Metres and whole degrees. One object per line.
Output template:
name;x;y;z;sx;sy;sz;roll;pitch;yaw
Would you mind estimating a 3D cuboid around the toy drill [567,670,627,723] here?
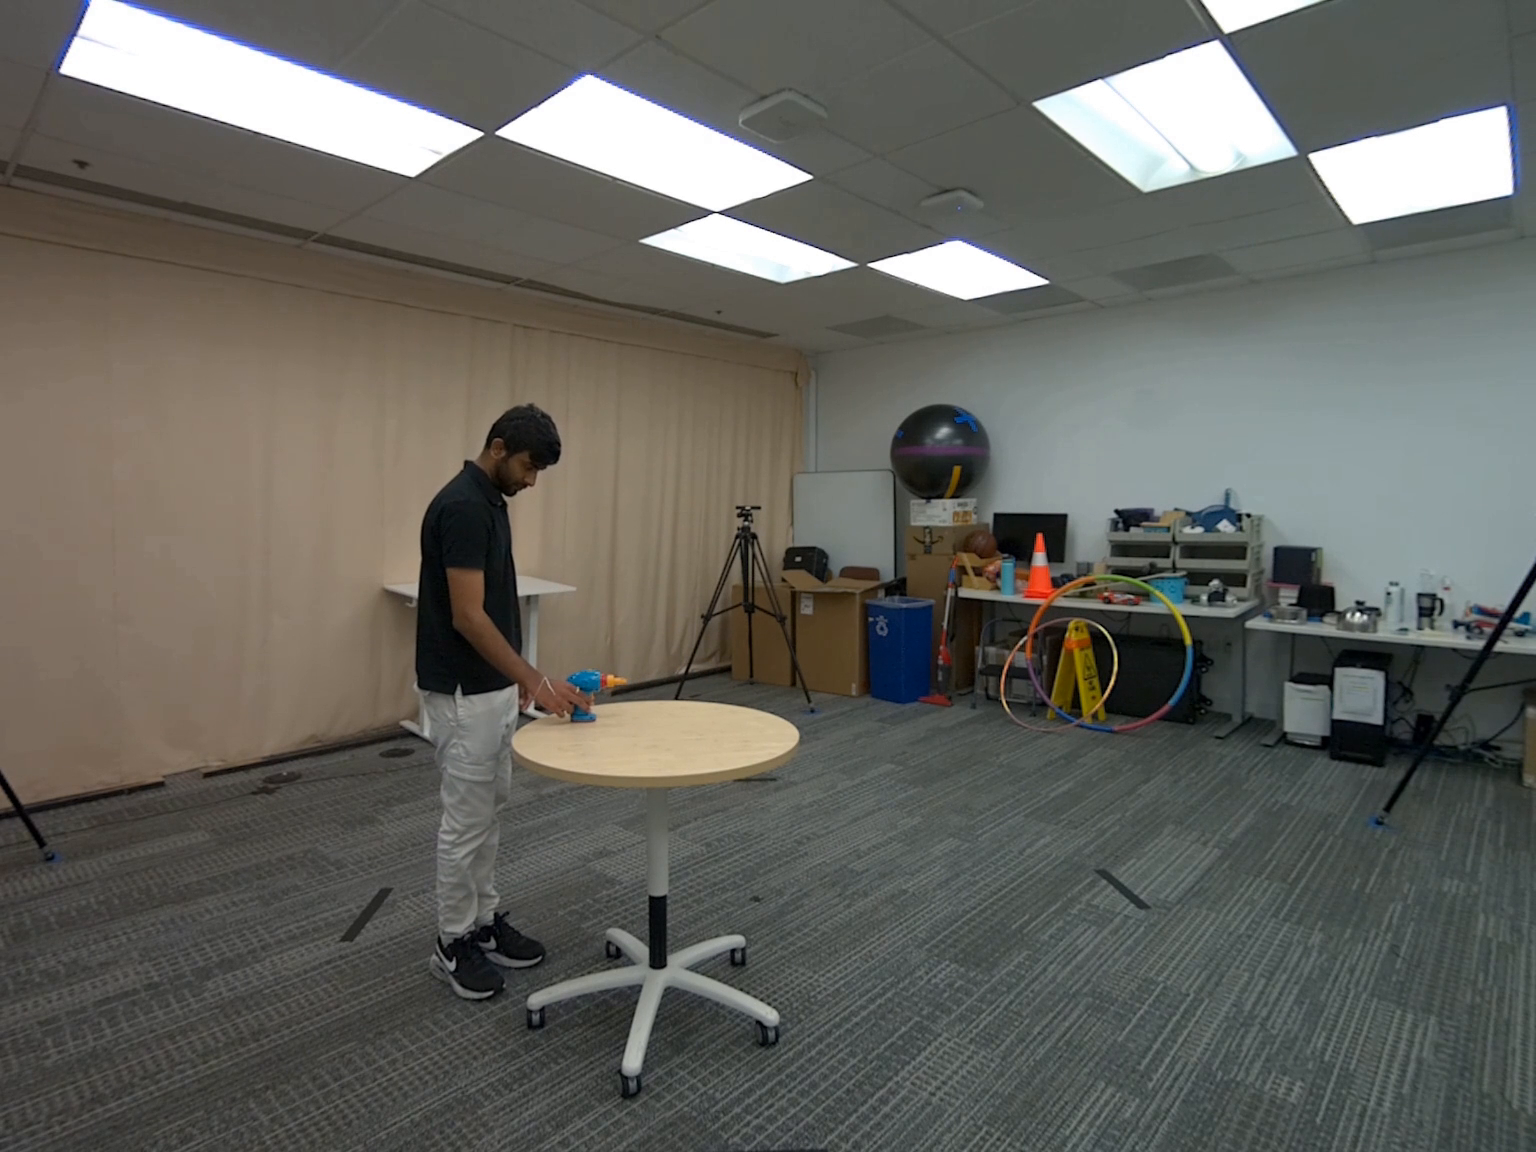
toy drill;-0.488;0.342;2.388;0.169;0.146;0.061;-1;1;-3
